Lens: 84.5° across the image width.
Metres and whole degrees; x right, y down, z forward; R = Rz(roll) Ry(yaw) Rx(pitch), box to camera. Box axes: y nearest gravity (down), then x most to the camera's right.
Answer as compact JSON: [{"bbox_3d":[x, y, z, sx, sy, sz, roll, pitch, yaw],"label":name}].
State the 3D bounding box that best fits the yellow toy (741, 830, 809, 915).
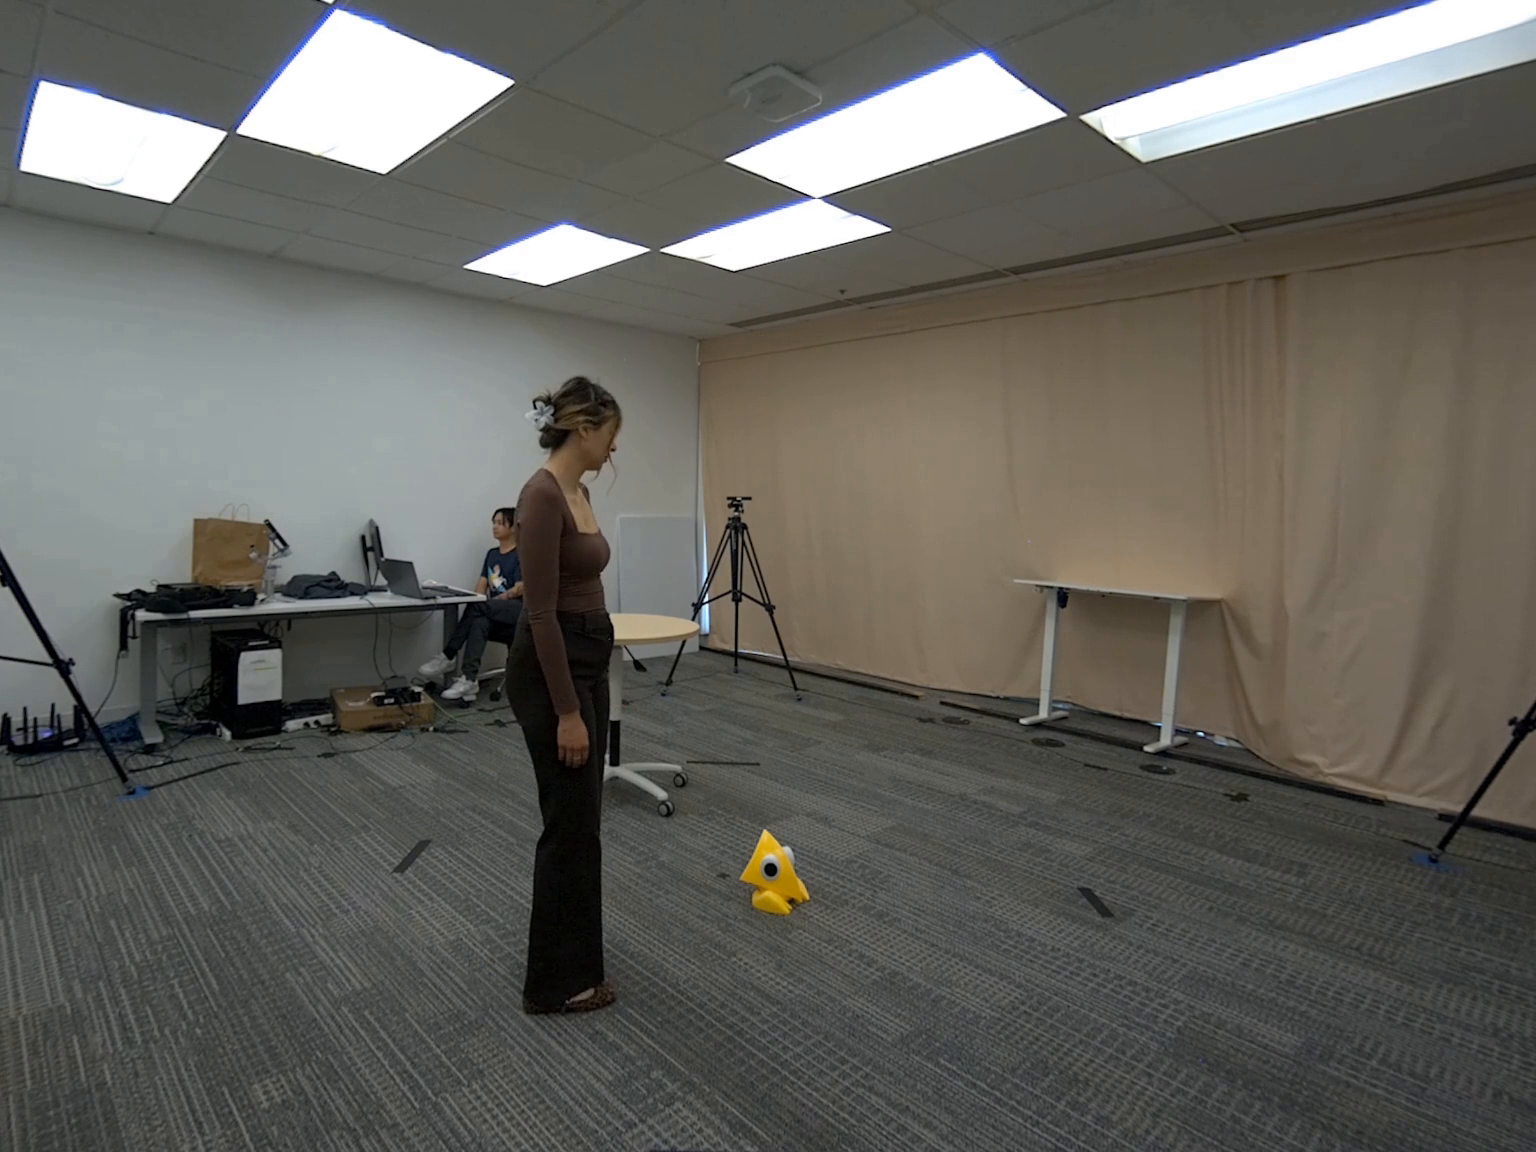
[{"bbox_3d":[0.029,1.018,2.924,0.198,0.230,0.200,5,5,36],"label":"yellow toy"}]
